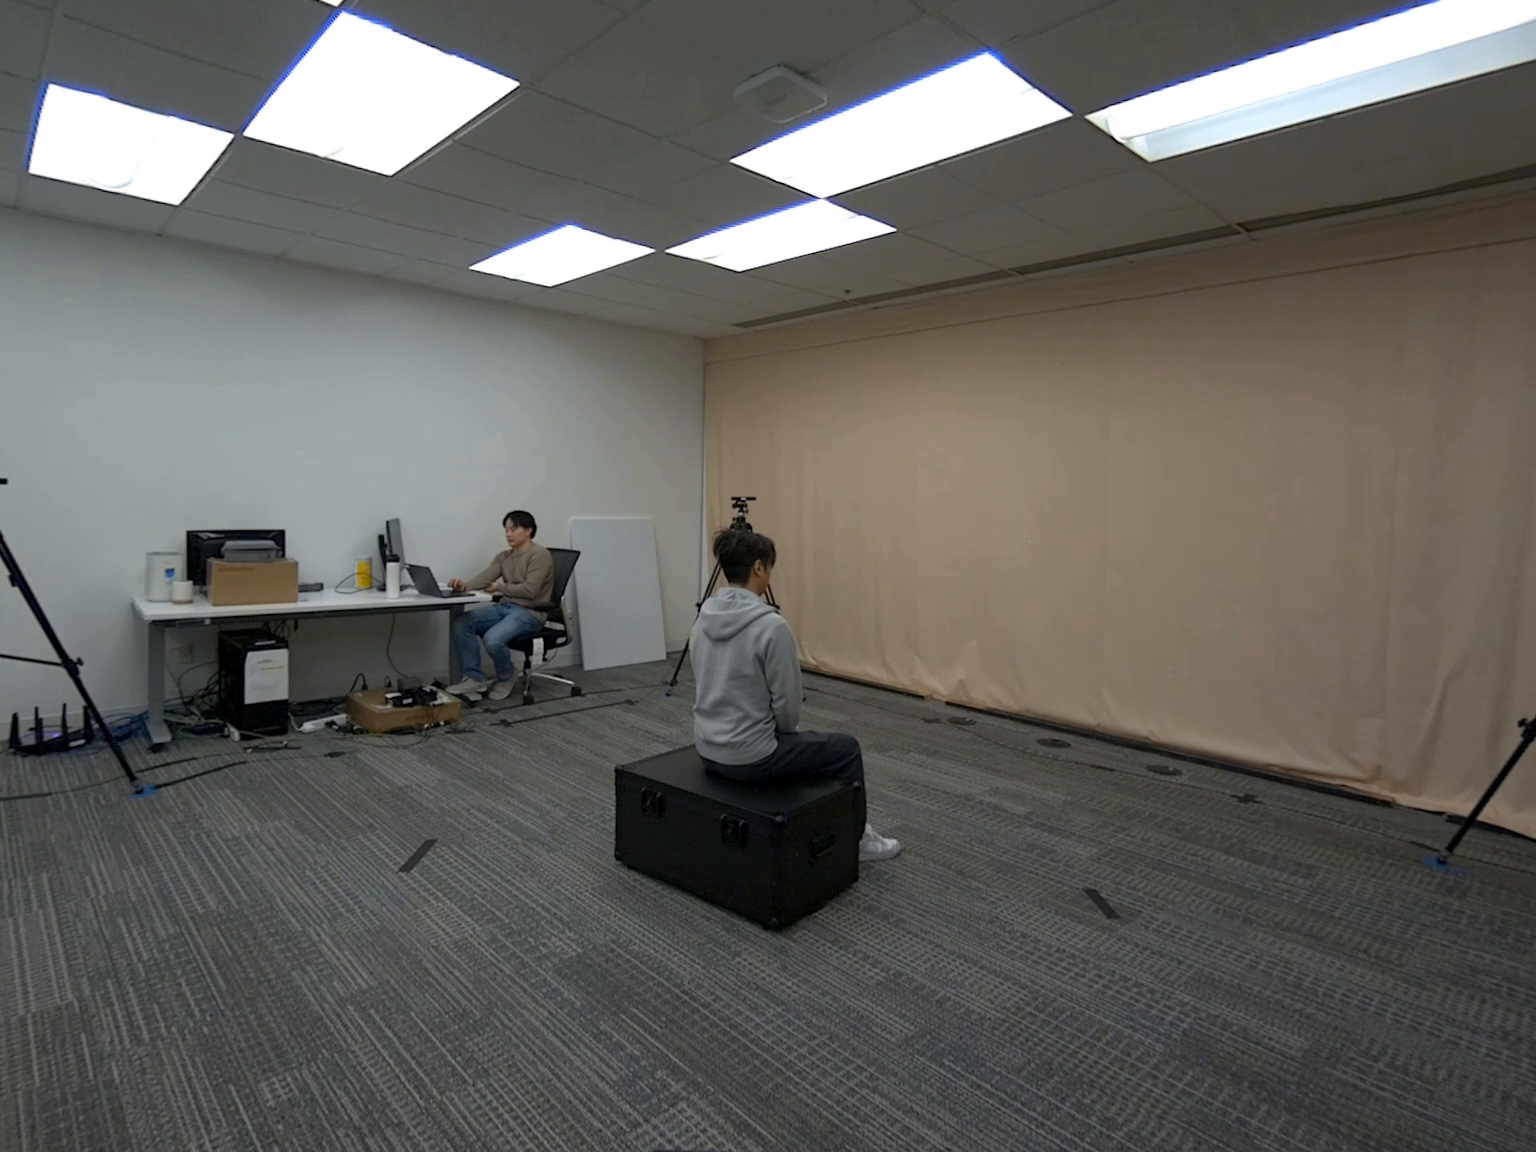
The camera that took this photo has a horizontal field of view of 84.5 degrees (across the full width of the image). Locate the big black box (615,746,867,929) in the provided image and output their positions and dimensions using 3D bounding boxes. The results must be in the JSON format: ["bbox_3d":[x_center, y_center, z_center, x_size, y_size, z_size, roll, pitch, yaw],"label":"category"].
[{"bbox_3d":[-0.111,0.927,3.069,0.883,0.395,0.510,5,6,40],"label":"big black box"}]
